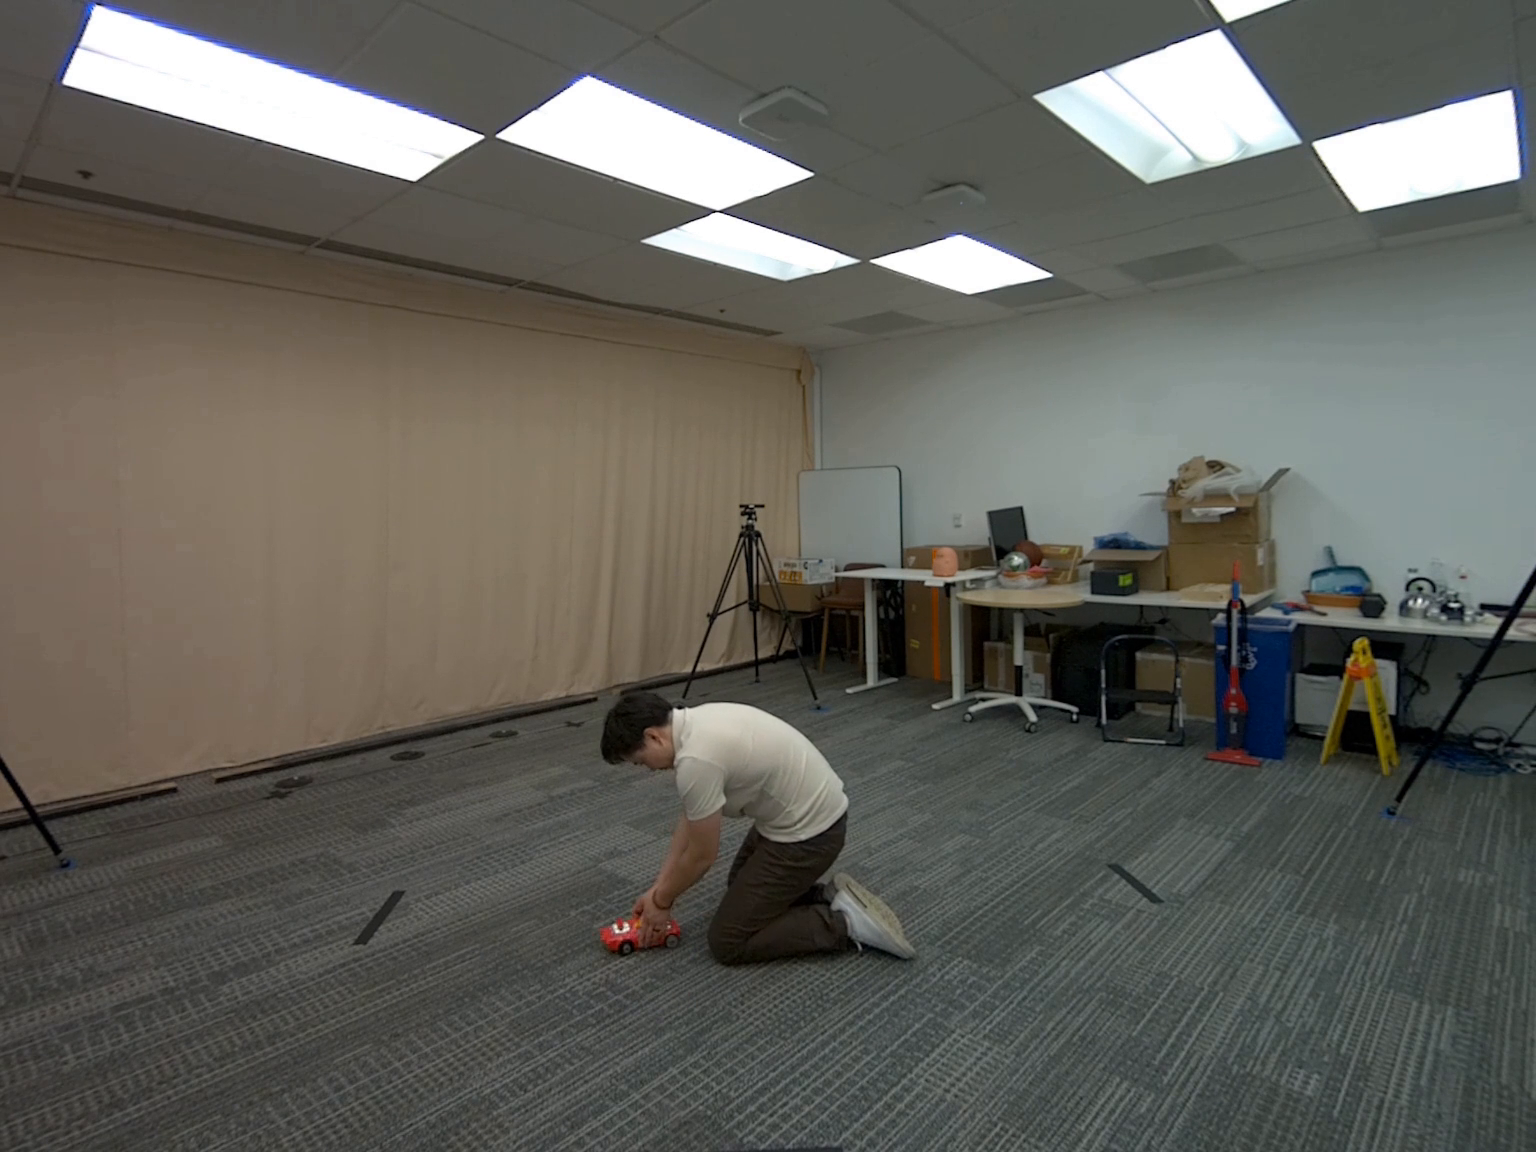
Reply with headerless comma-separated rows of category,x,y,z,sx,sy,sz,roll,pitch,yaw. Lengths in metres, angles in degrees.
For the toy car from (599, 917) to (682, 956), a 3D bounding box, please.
toy car,-0.408,1.149,2.676,0.249,0.083,0.133,10,0,-18
